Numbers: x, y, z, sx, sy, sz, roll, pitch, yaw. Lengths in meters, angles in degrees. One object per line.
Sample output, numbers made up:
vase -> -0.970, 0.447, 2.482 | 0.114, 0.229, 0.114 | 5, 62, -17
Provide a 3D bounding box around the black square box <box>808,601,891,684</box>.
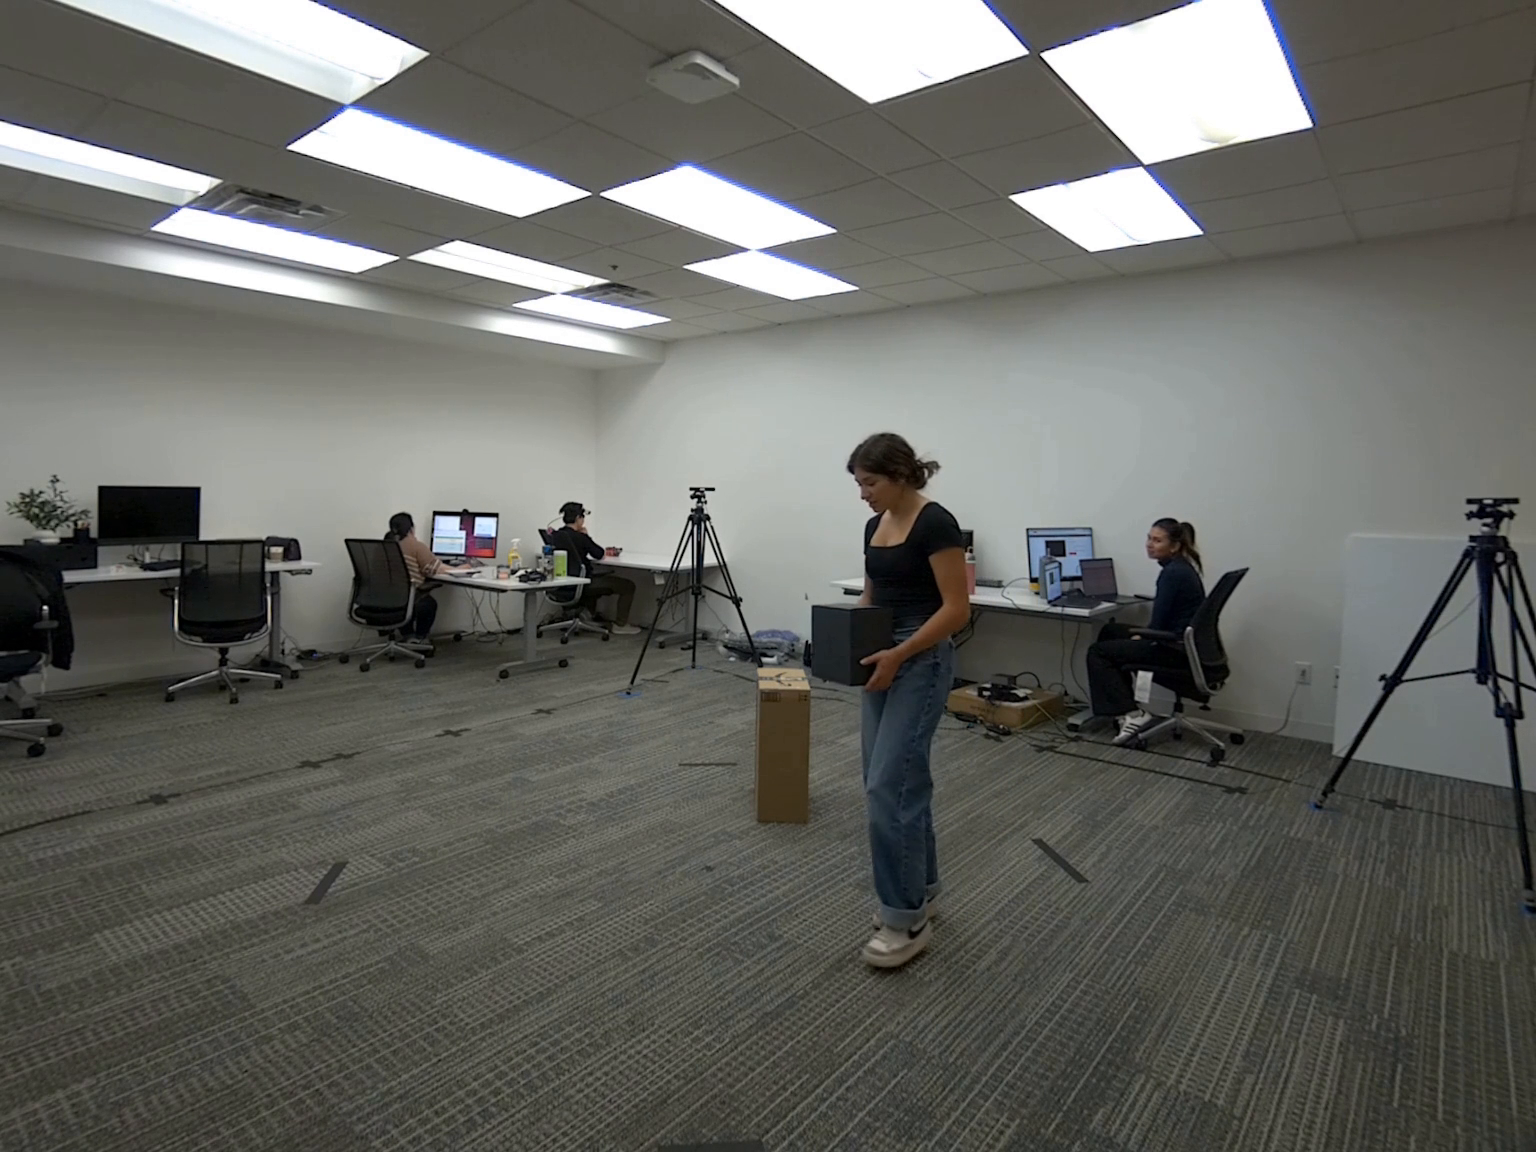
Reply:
black square box -> 0.252, 0.200, 2.634 | 0.152, 0.228, 0.222 | 0, 0, -28
